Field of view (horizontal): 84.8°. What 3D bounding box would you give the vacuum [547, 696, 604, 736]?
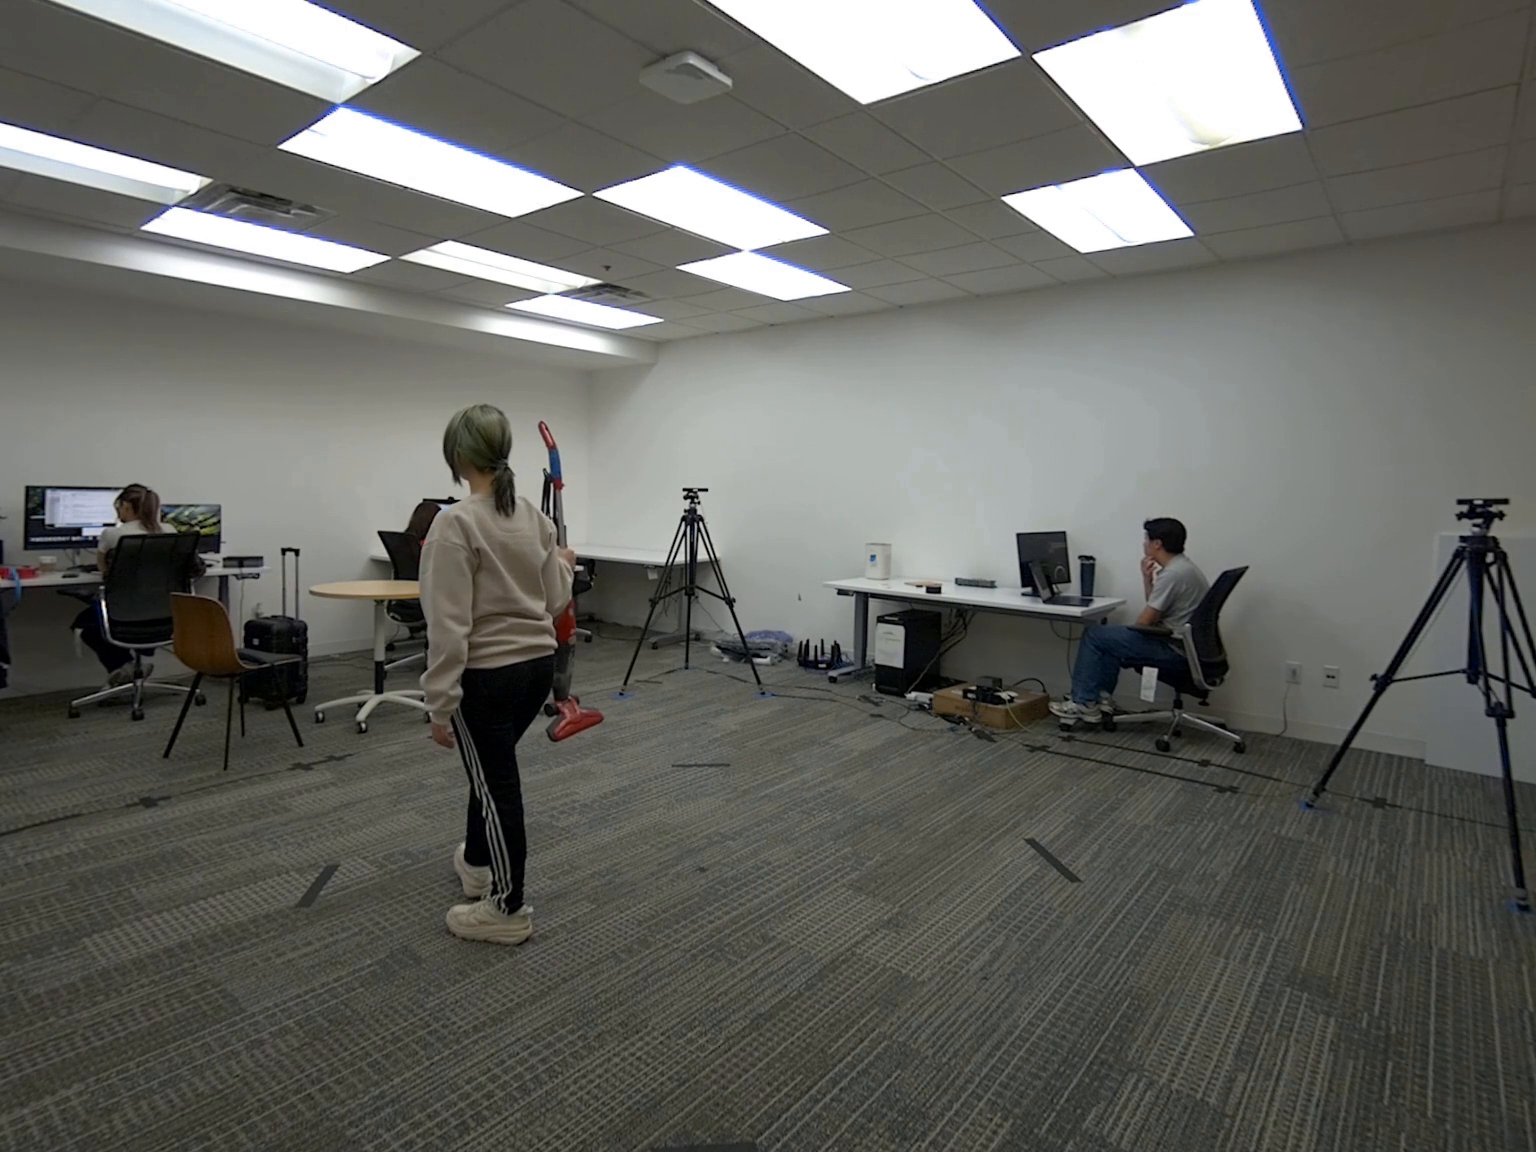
[{"bbox_3d":[-0.768,-0.013,3.013,0.148,1.044,0.247,-1,6,31],"label":"vacuum"}]
